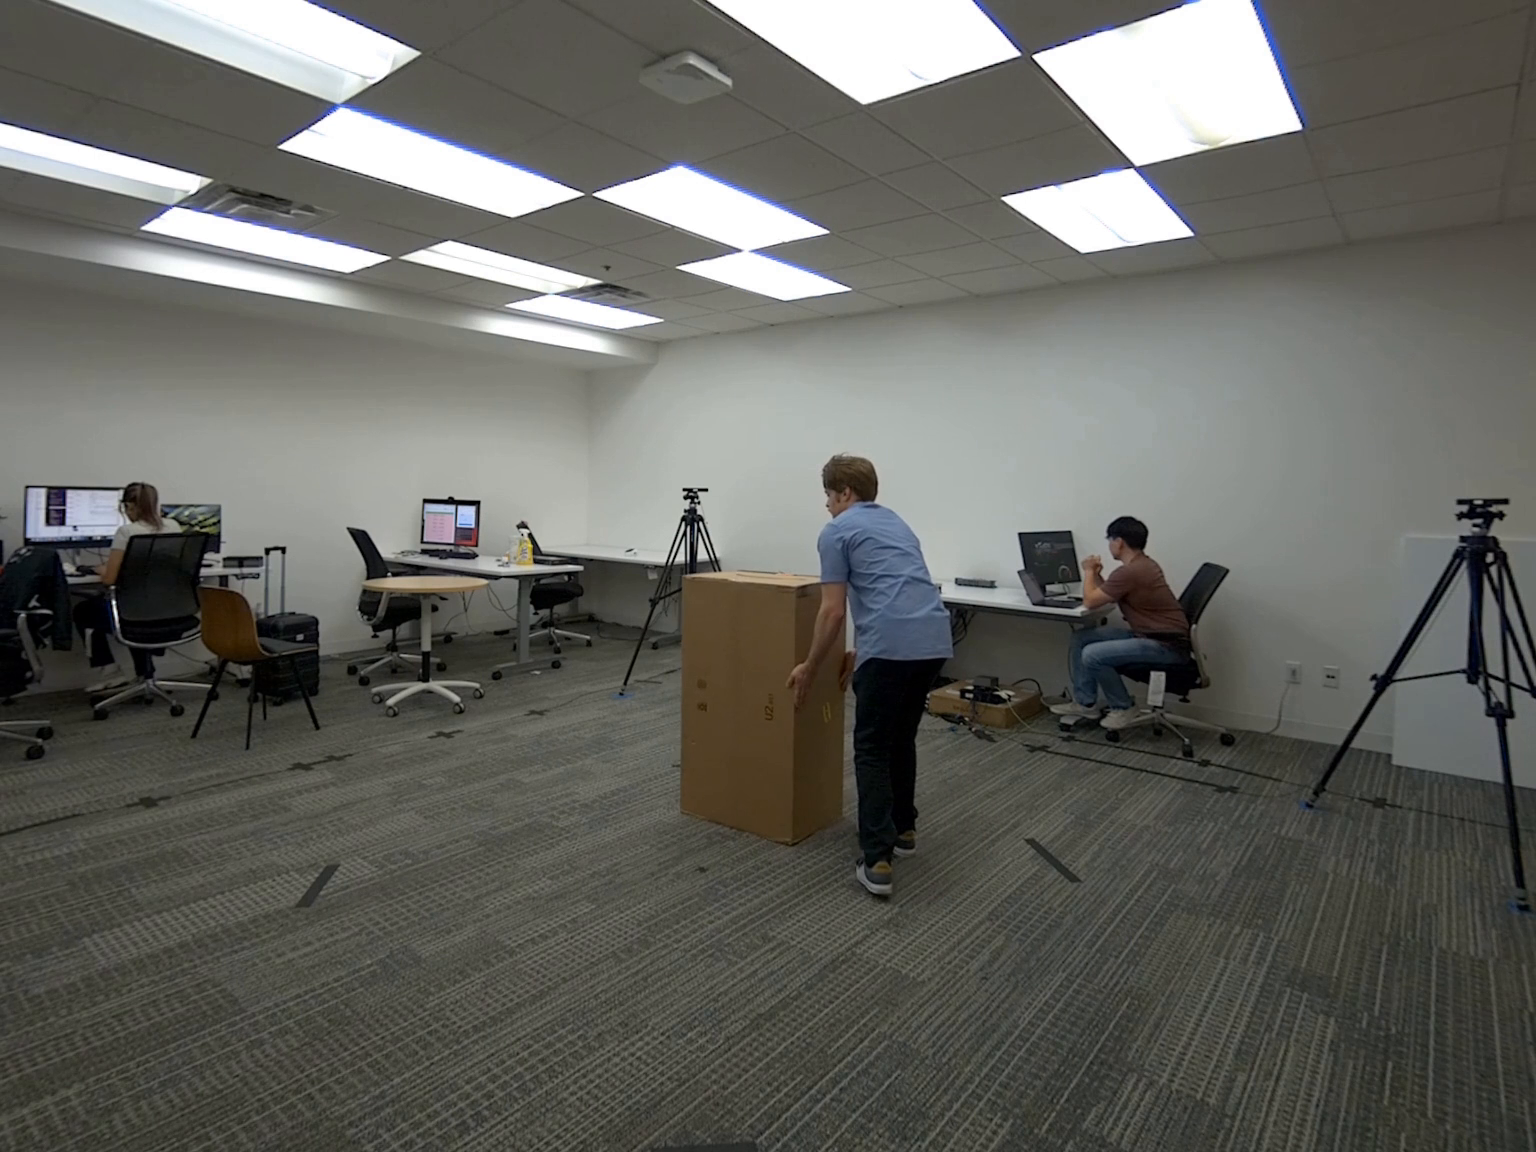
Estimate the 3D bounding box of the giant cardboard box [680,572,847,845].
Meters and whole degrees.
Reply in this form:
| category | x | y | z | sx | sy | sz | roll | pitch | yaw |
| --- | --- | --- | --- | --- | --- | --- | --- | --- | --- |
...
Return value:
| category | x | y | z | sx | sy | sz | roll | pitch | yaw |
| --- | --- | --- | --- | --- | --- | --- | --- | --- | --- |
| giant cardboard box | -0.033 | 0.513 | 3.645 | 0.596 | 1.023 | 0.414 | 3 | 3 | 36 |
